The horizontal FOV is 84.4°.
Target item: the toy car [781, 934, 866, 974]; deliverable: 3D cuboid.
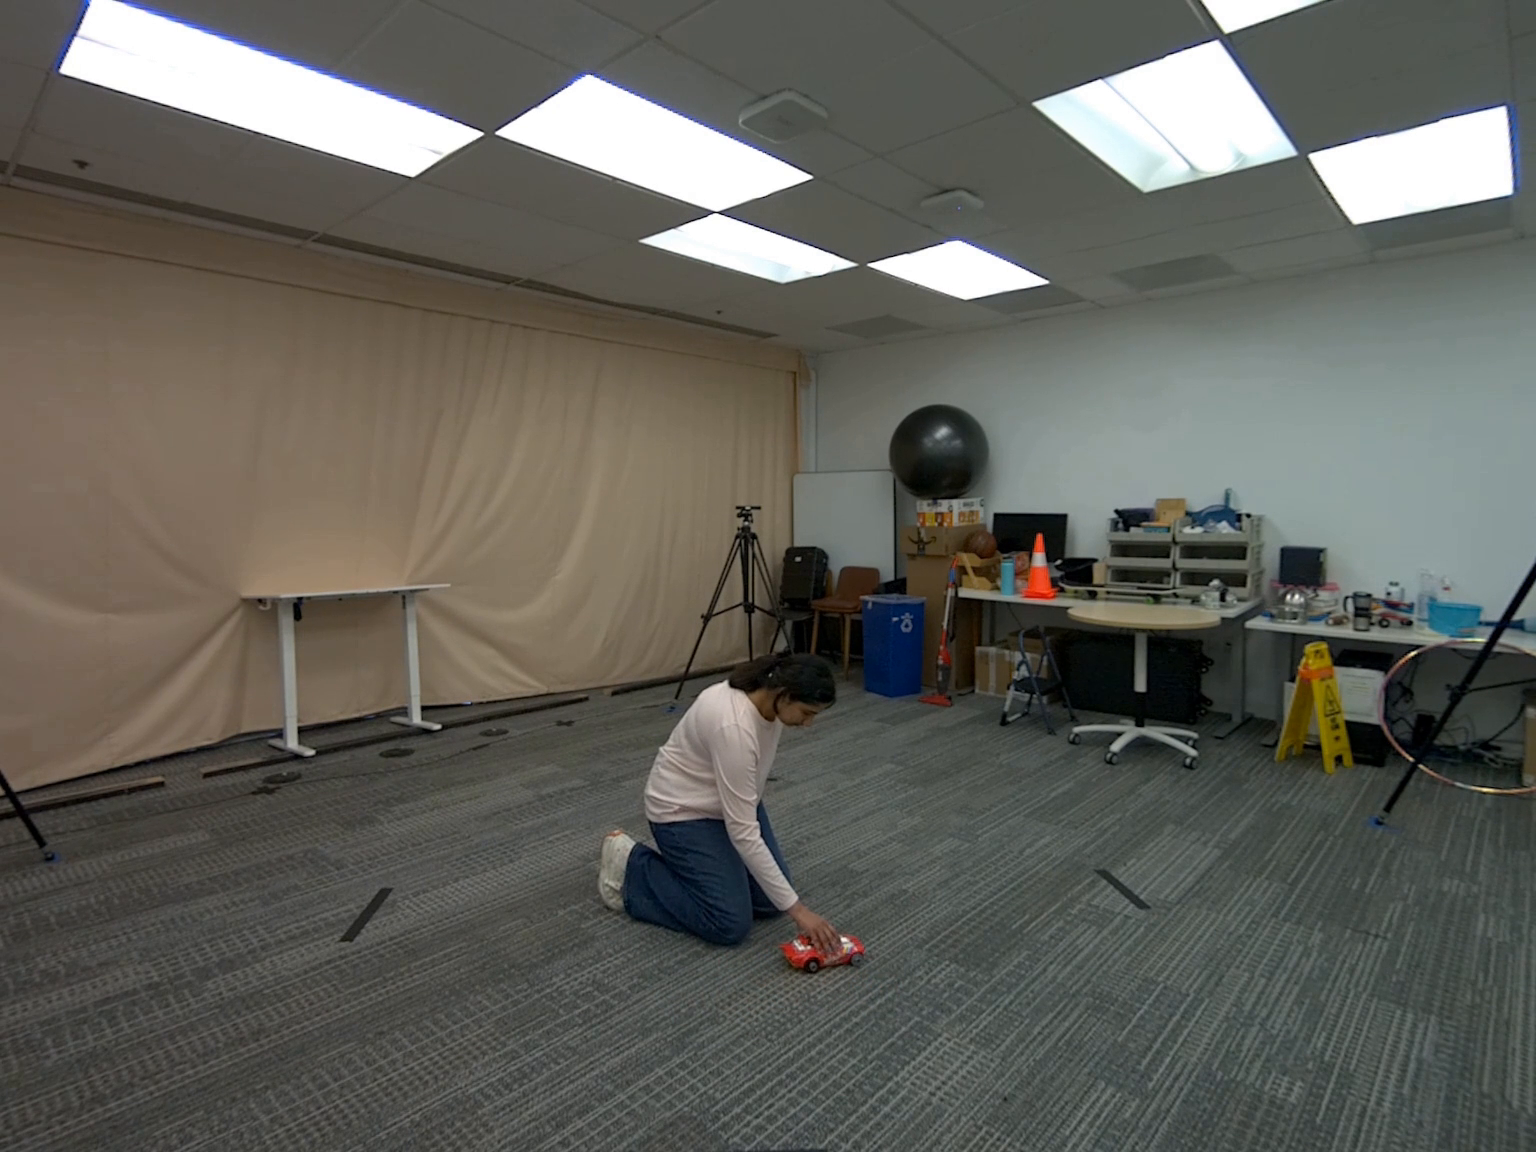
[{"bbox_3d":[0.165,1.149,2.558,0.250,0.083,0.132,8,1,-15],"label":"toy car"}]
